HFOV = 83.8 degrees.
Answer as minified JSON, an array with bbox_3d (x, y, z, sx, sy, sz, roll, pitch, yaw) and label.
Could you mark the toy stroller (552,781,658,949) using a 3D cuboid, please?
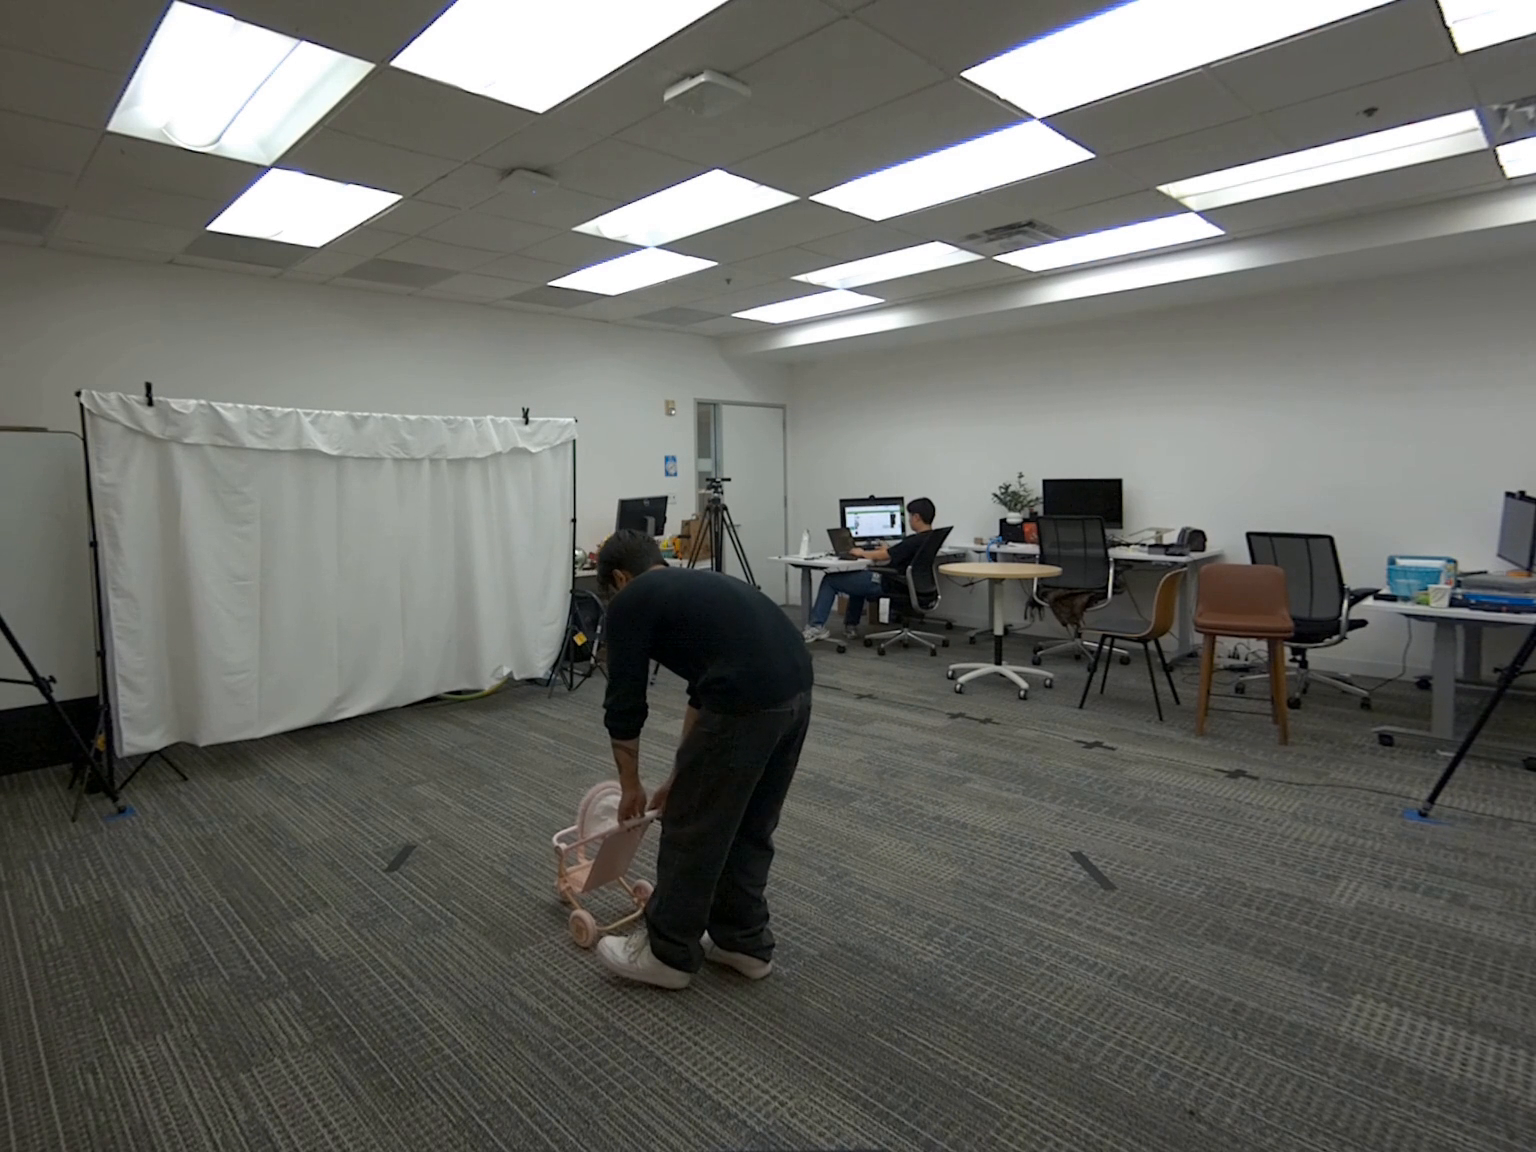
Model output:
[{"bbox_3d":[-0.521,0.879,2.693,0.274,0.529,0.354,-4,23,-44],"label":"toy stroller"}]
